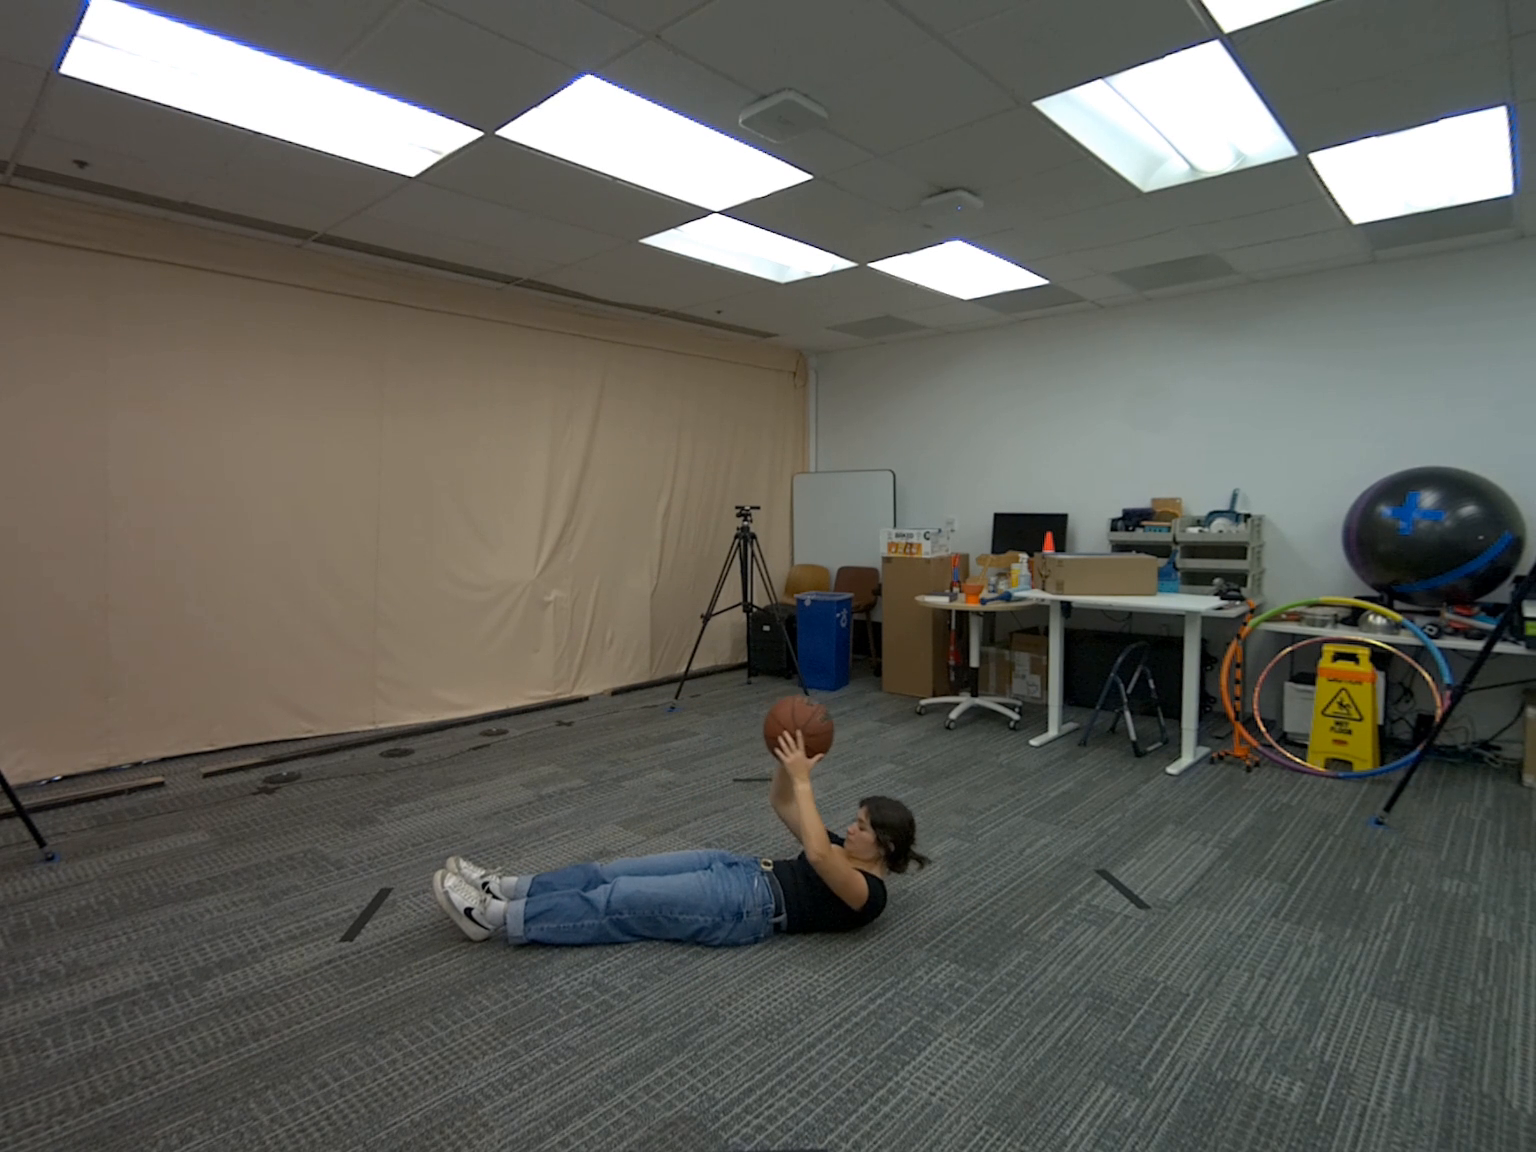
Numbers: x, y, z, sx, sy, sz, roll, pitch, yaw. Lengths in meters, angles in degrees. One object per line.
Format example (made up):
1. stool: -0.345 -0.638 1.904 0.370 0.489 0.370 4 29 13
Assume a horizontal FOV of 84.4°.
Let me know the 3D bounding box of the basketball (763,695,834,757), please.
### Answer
1. basketball: 0.116 0.528 2.838 0.236 0.235 0.237 0 4 -2
